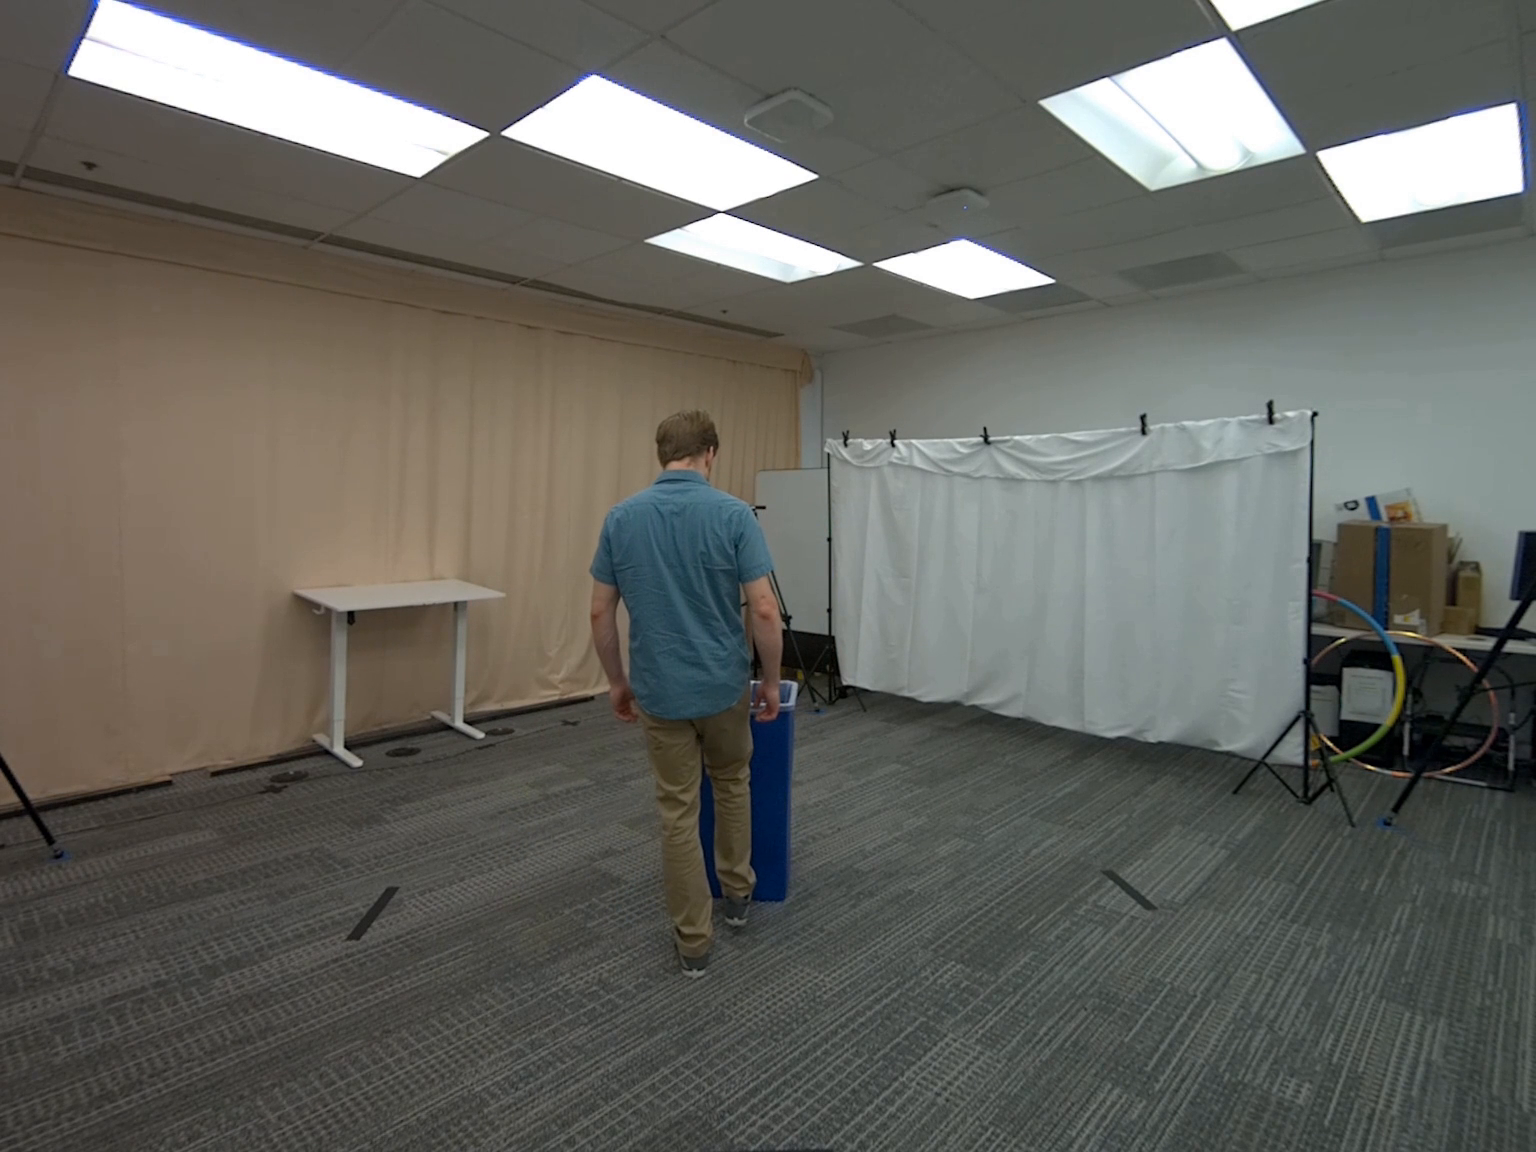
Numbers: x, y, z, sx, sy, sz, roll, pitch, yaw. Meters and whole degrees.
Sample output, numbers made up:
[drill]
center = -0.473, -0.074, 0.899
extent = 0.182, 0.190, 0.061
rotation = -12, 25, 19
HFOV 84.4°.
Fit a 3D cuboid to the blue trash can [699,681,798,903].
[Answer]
[blue trash can]
center = -0.073, 0.778, 3.097
extent = 0.381, 0.712, 0.372
rotation = 0, 3, 5
